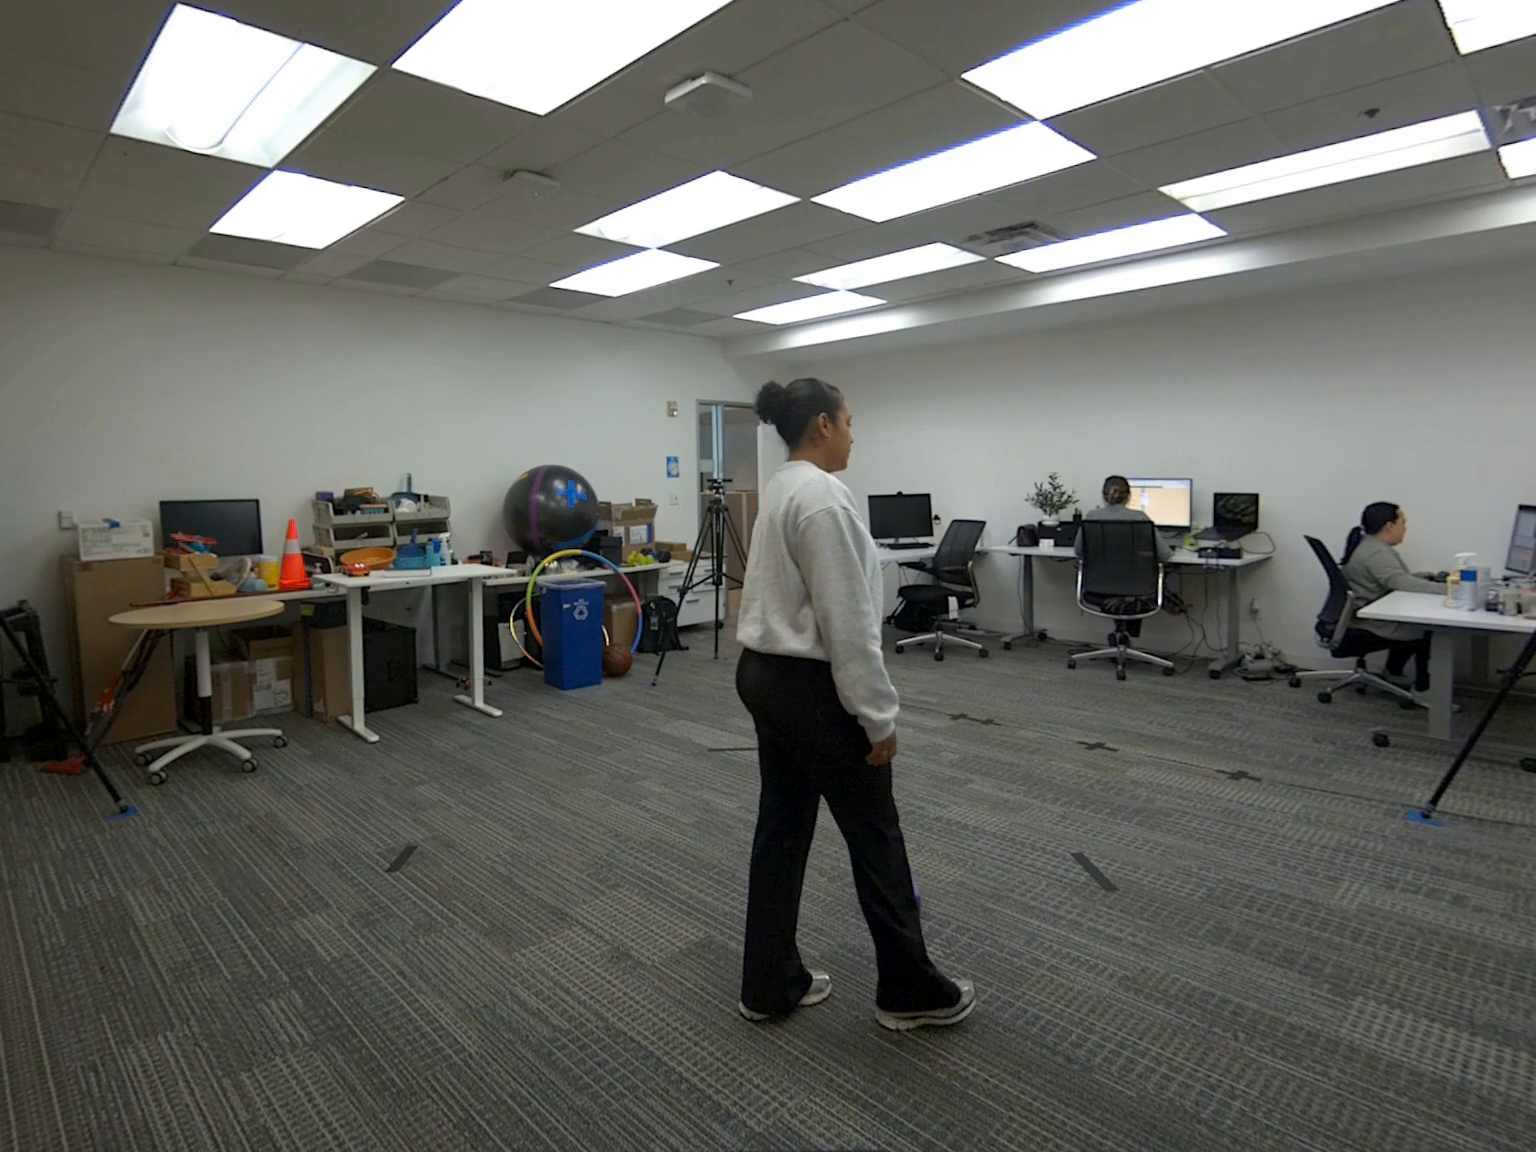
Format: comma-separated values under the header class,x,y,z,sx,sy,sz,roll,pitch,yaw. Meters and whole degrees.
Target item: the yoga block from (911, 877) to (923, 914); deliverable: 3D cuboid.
class,x,y,z,sx,sy,sz,roll,pitch,yaw
yoga block,0.420,1.033,2.809,0.149,0.076,0.230,-3,6,2
